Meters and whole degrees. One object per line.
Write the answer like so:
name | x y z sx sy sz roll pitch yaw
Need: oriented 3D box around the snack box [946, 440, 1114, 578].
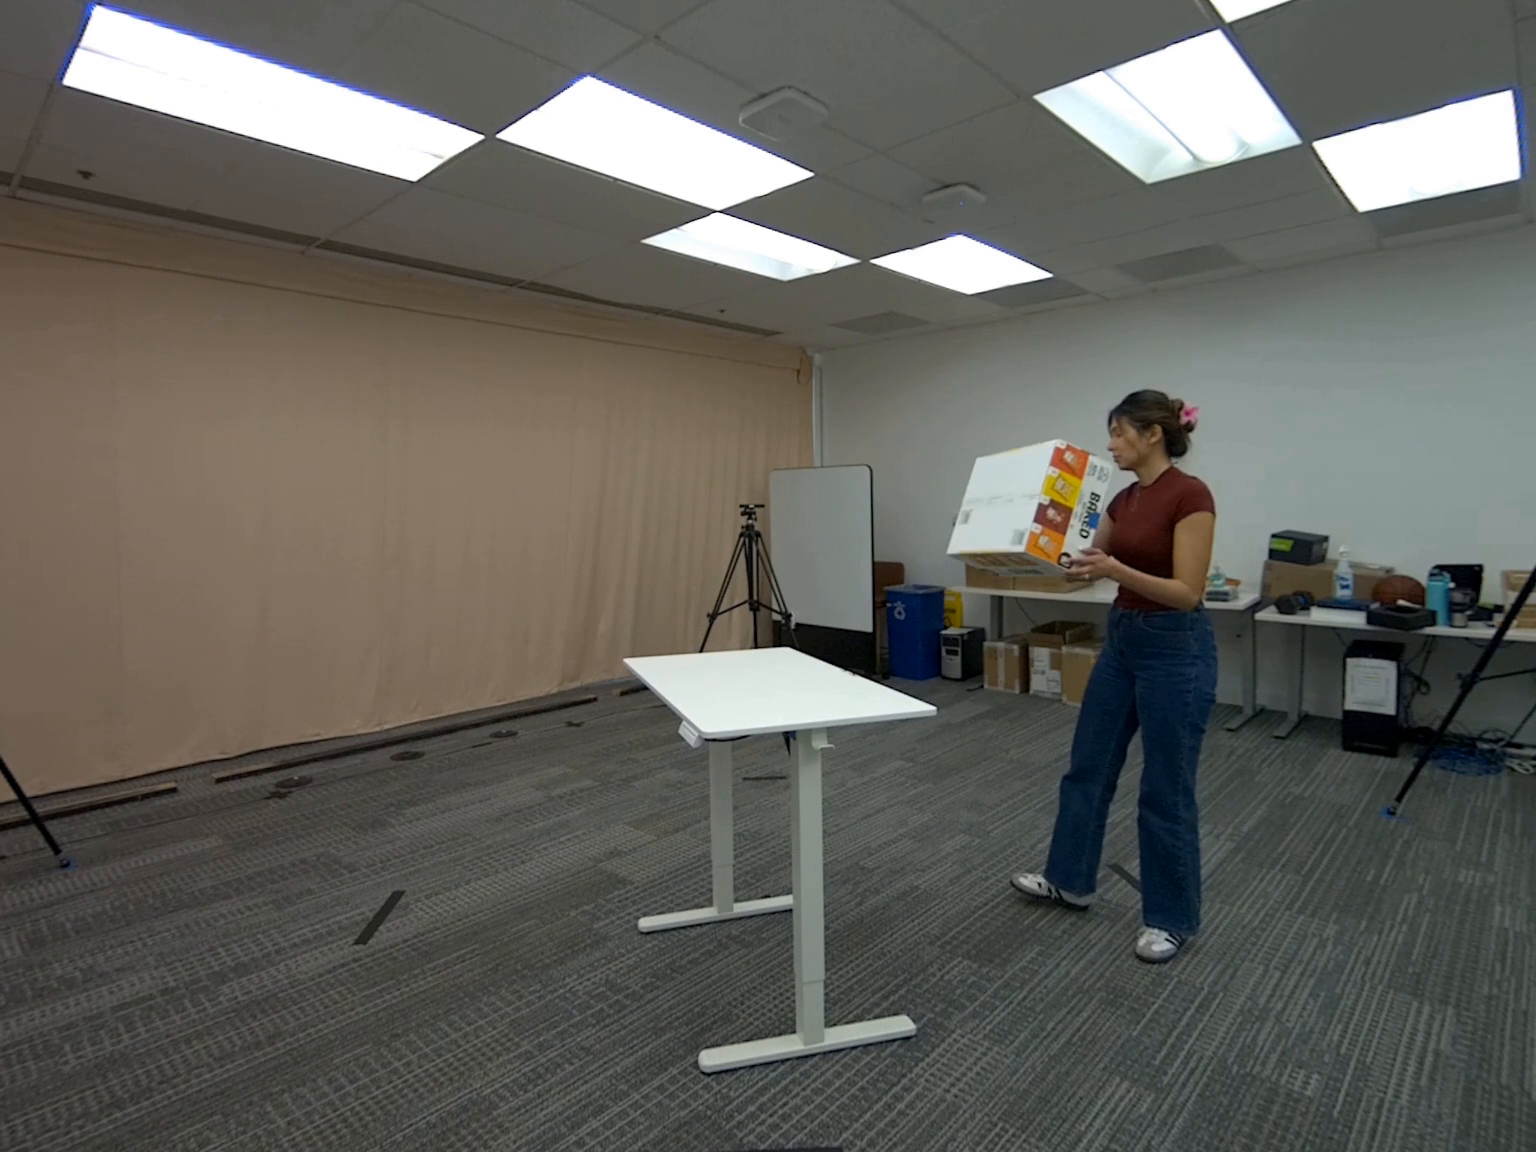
snack box | 0.786 -0.189 2.533 0.202 0.341 0.412 22 -8 -17
